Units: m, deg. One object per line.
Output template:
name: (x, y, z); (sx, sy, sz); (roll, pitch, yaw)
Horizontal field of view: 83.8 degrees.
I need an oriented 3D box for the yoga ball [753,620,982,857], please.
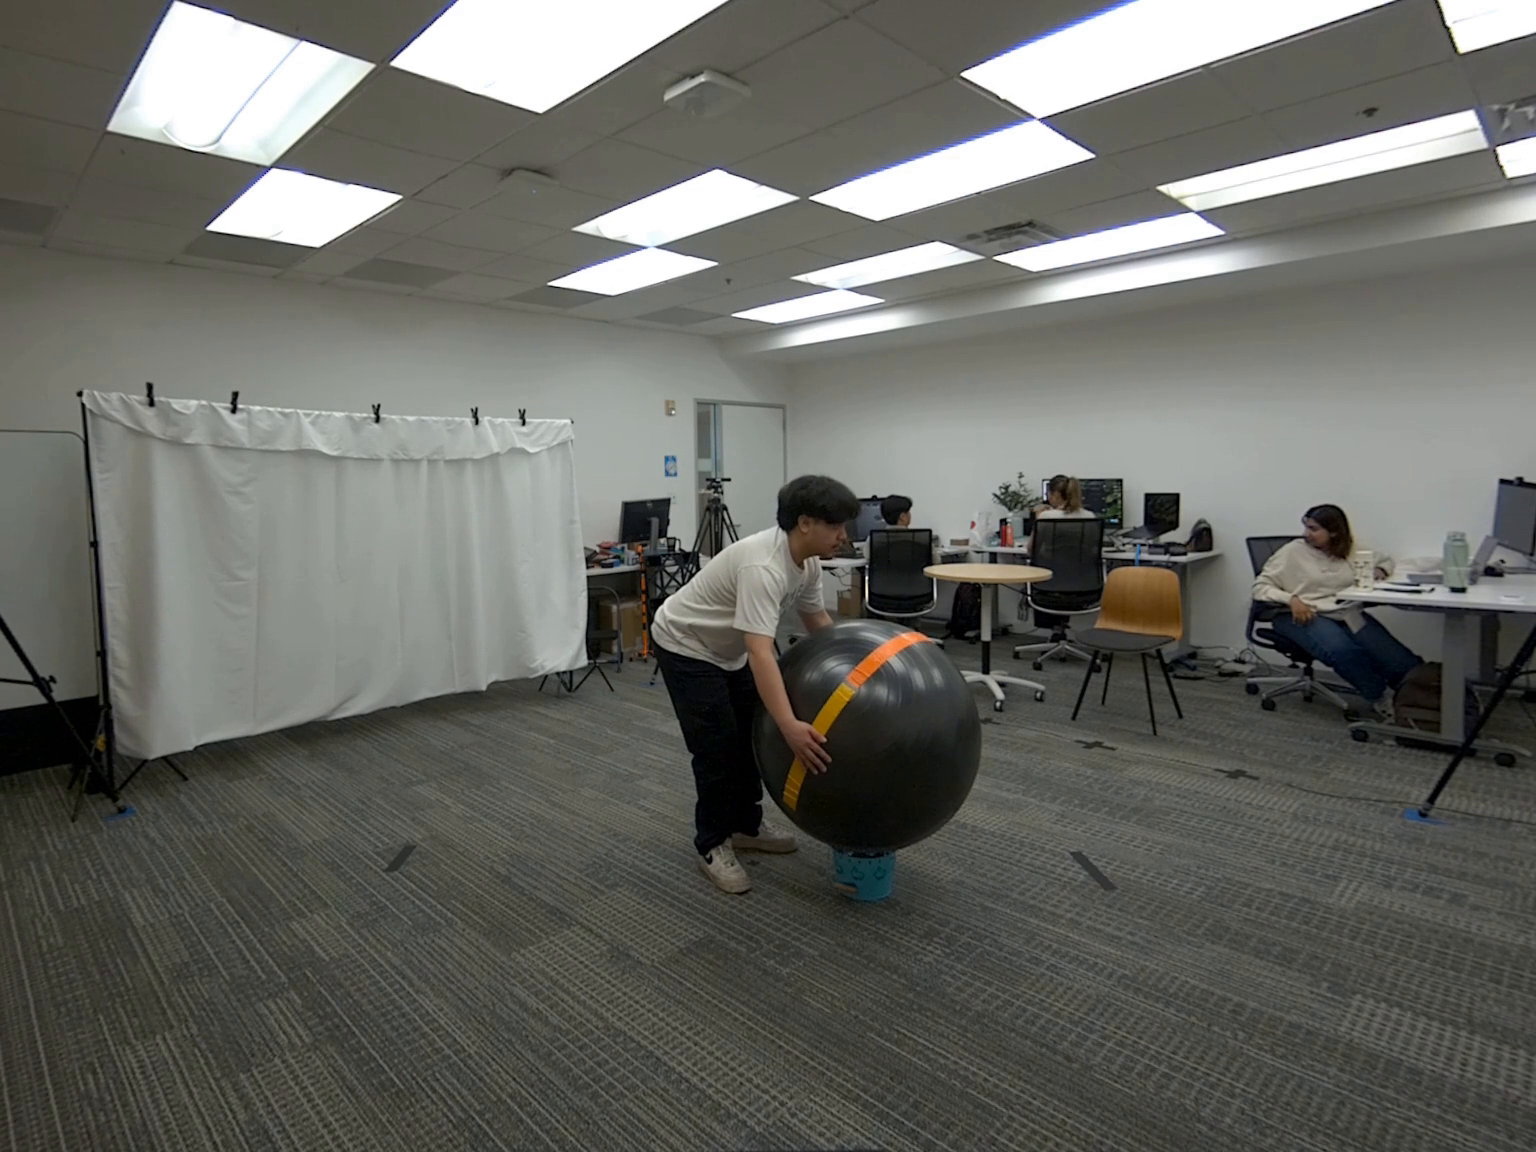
yoga ball: (0.328, 0.528, 2.870); (0.757, 0.755, 0.762); (-1, 5, -2)
